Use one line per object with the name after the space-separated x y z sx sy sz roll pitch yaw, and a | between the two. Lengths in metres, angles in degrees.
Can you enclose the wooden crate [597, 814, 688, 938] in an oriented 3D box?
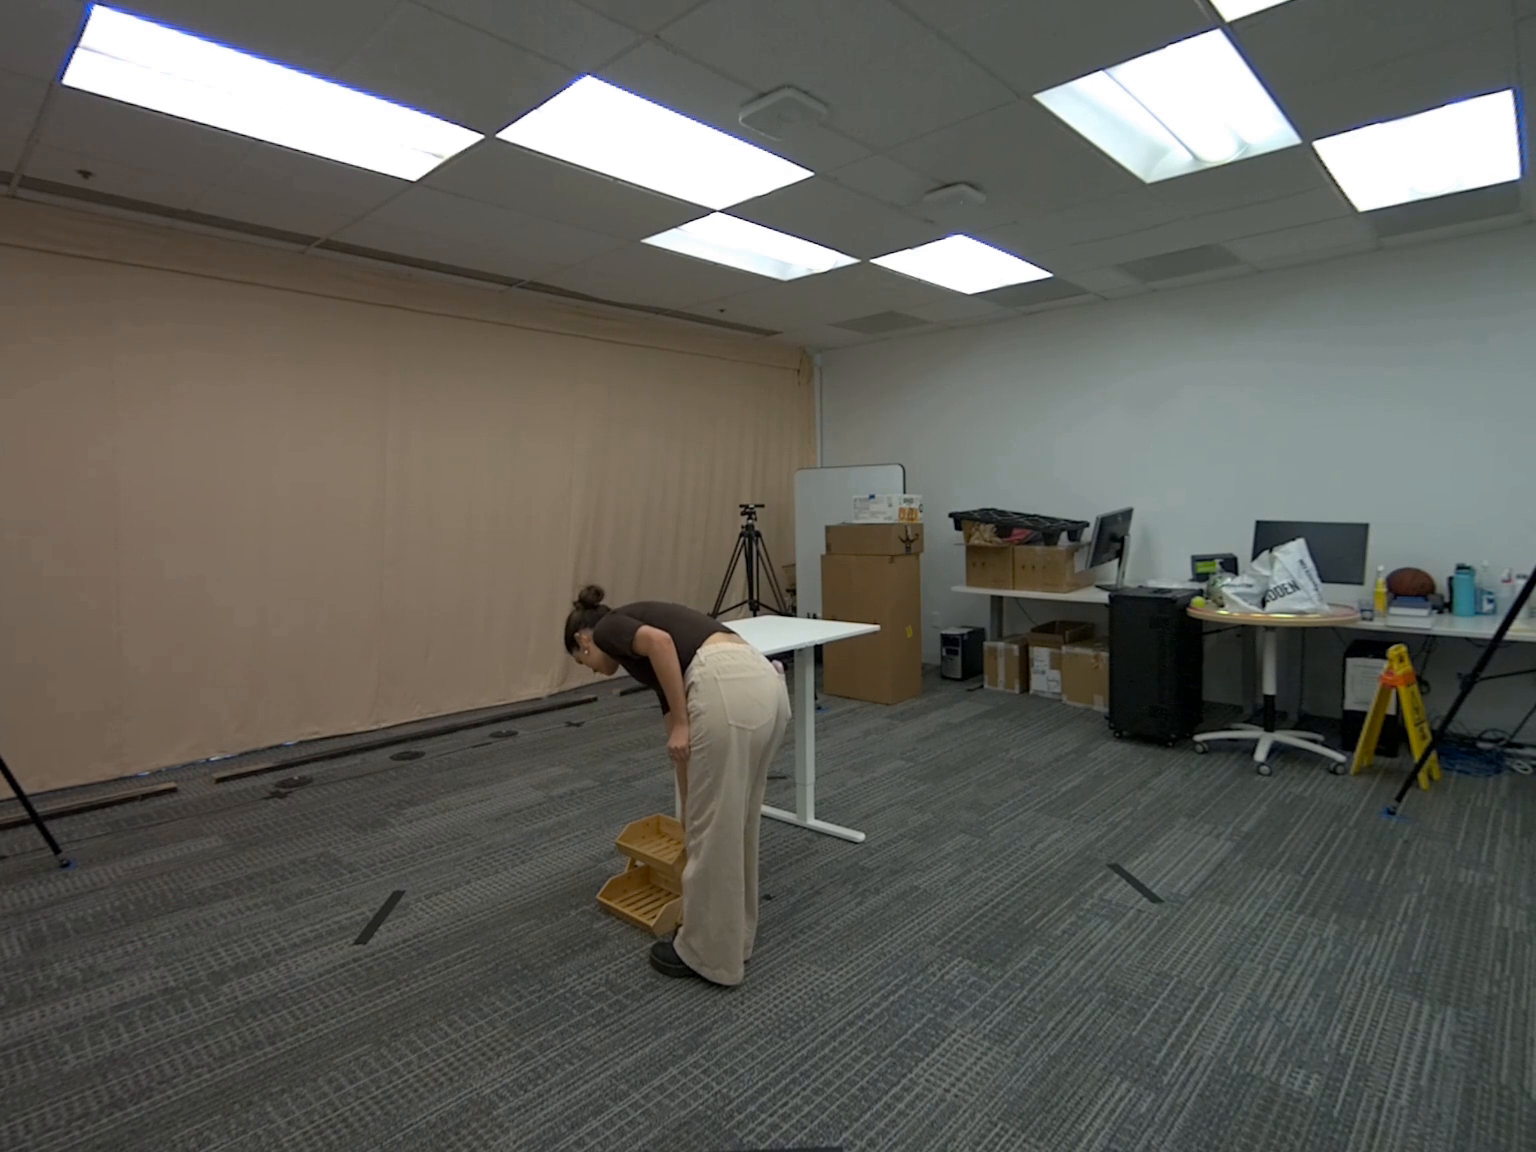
-0.383 1.021 2.908 0.335 0.273 0.293 2 4 42 | wooden crate
